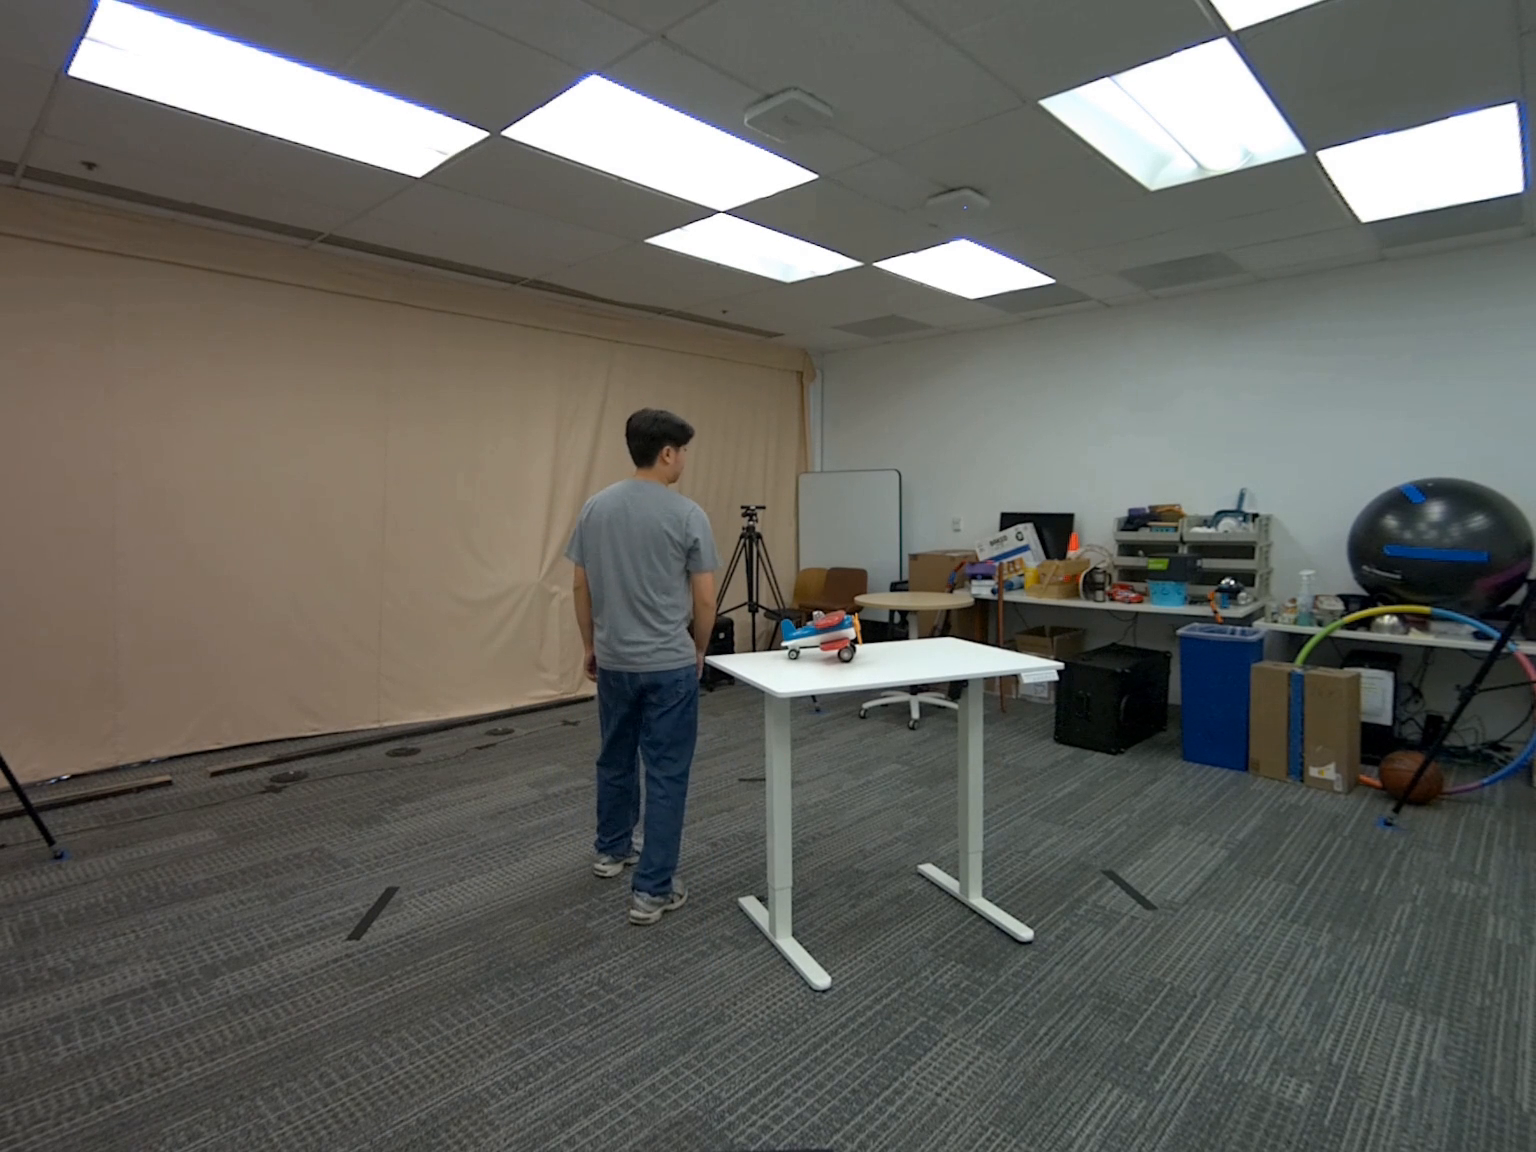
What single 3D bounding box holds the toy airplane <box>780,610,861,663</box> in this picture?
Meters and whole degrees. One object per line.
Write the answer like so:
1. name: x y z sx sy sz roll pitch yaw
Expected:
1. toy airplane: 0.185 0.200 2.766 0.254 0.156 0.256 -1 4 -19
